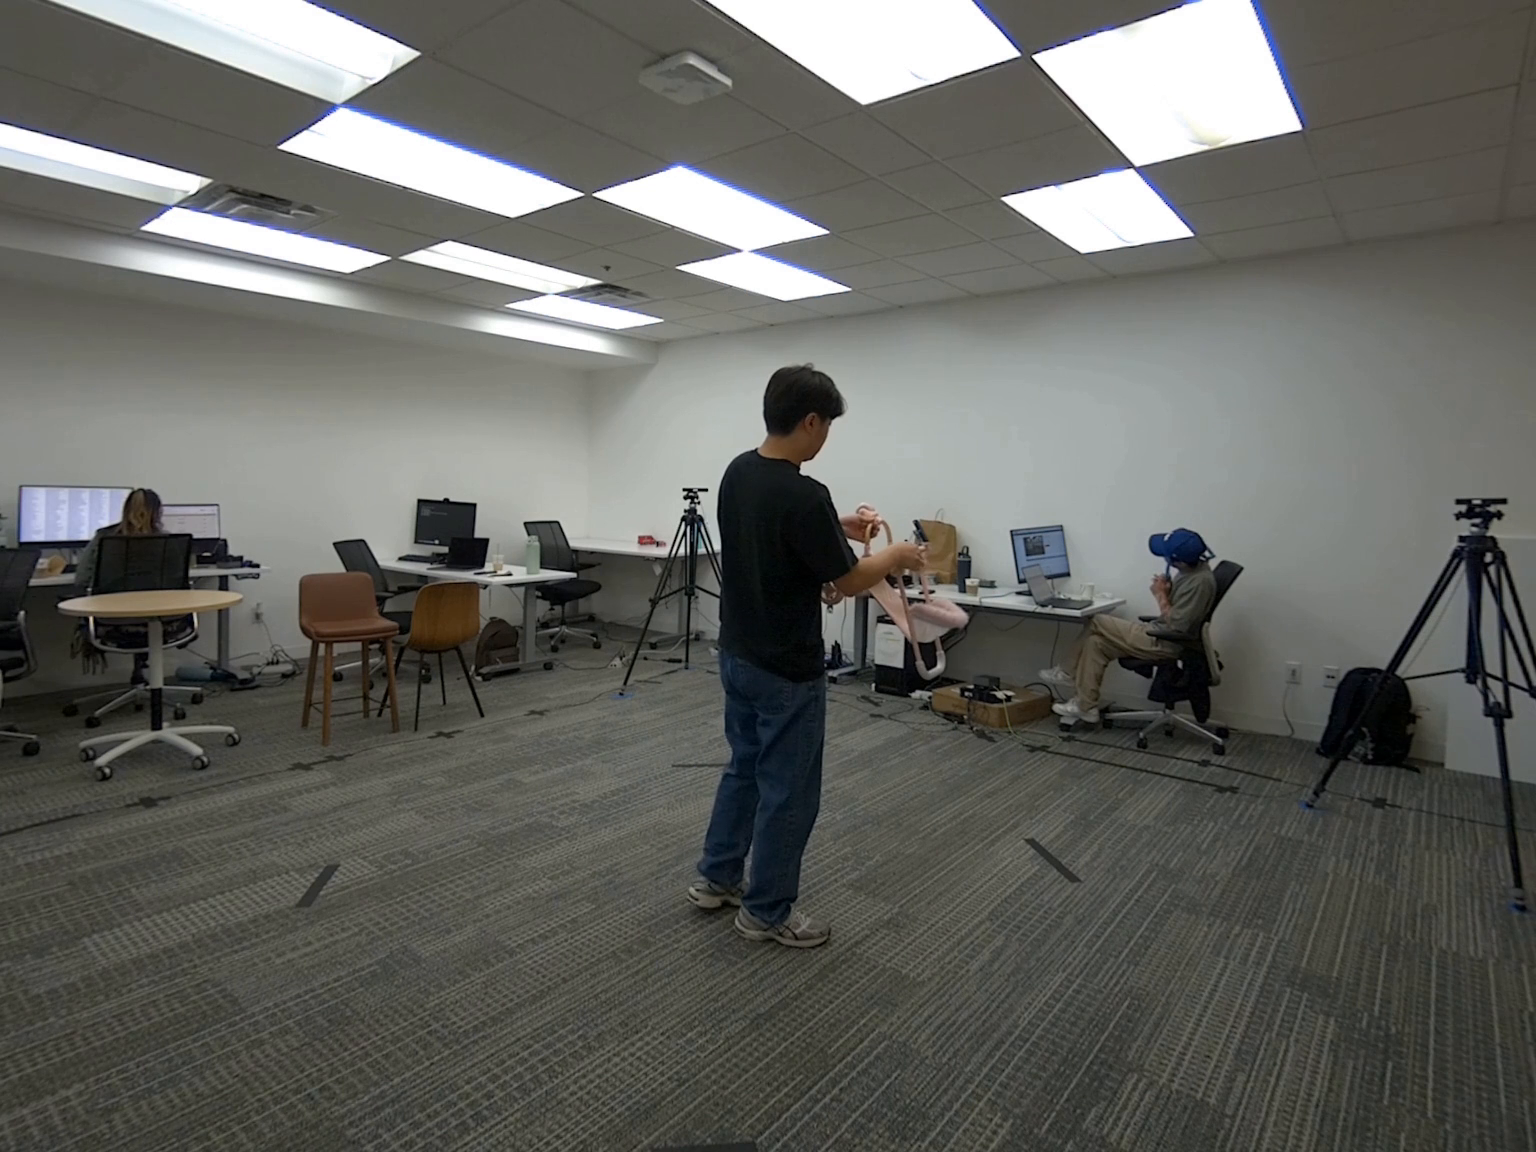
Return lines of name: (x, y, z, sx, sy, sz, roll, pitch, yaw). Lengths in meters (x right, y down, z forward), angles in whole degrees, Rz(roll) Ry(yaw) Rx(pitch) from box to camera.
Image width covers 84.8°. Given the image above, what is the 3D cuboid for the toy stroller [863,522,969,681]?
toy stroller: (0.419, 0.036, 2.804, 0.553, 0.340, 0.273, 42, 21, 24)
